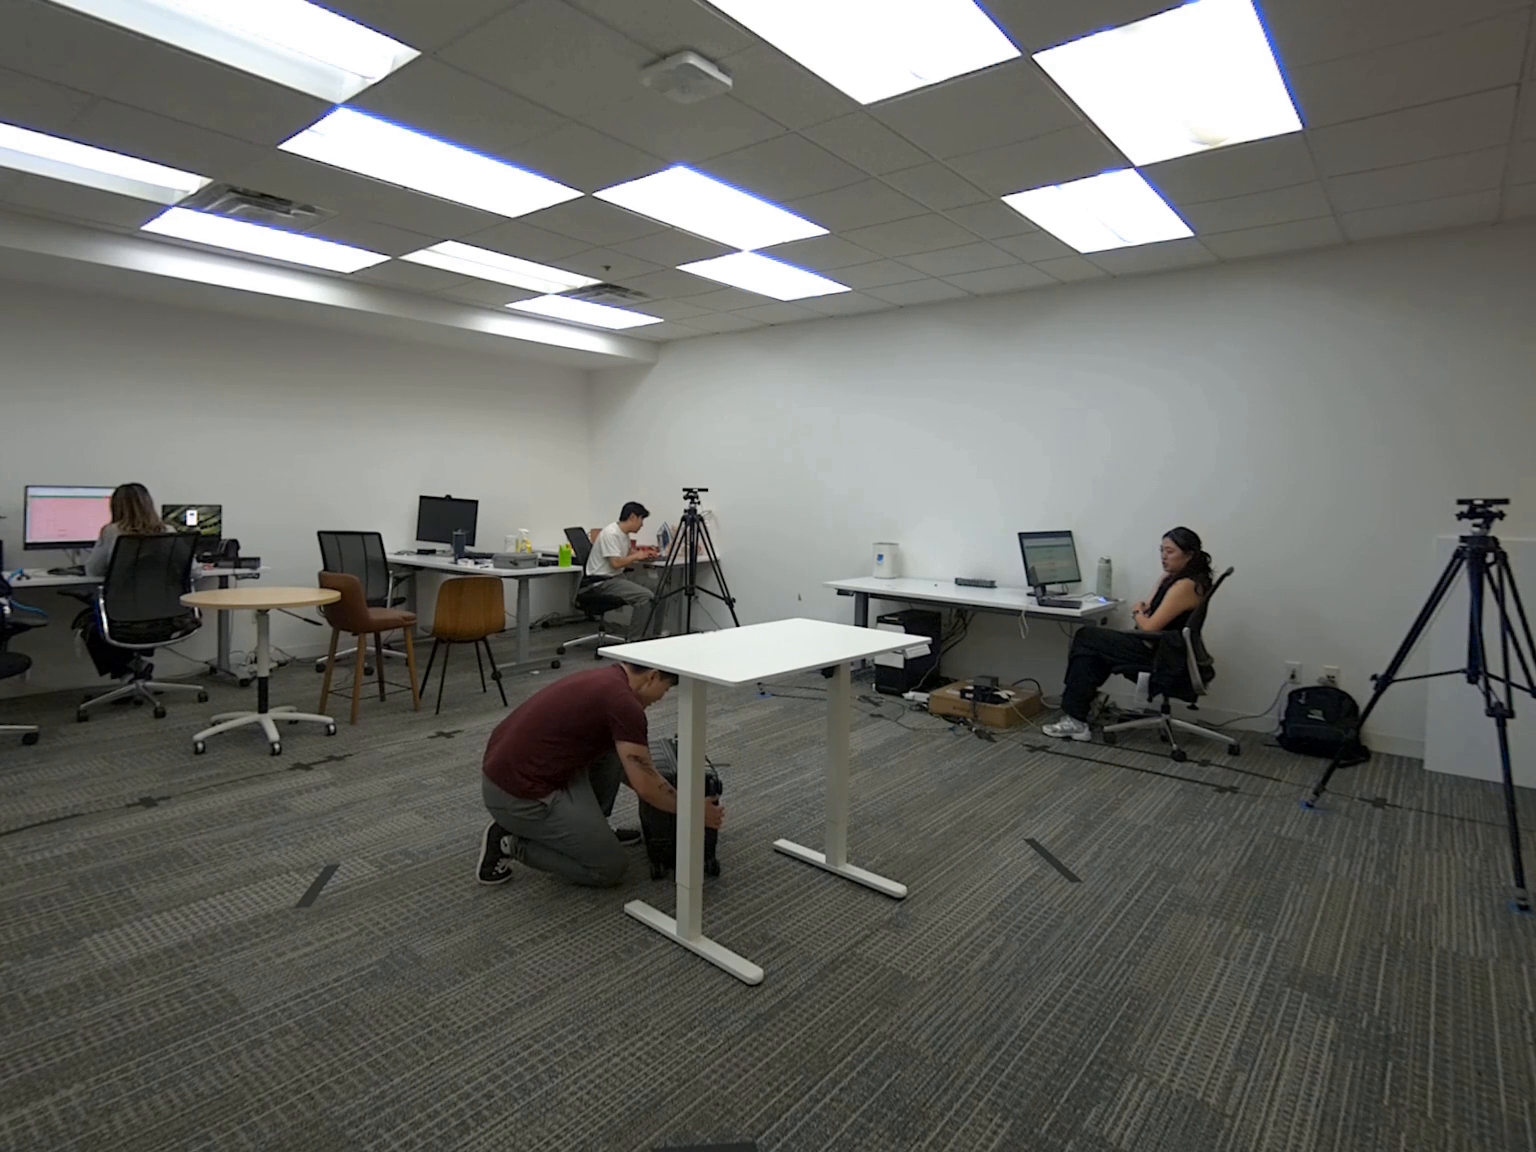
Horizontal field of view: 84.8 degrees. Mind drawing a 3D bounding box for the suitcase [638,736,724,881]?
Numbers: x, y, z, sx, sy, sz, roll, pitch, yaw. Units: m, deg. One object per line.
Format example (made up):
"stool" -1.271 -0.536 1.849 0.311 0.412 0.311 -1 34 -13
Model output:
"suitcase" -0.417 0.839 3.484 0.253 0.383 0.996 2 4 -15
